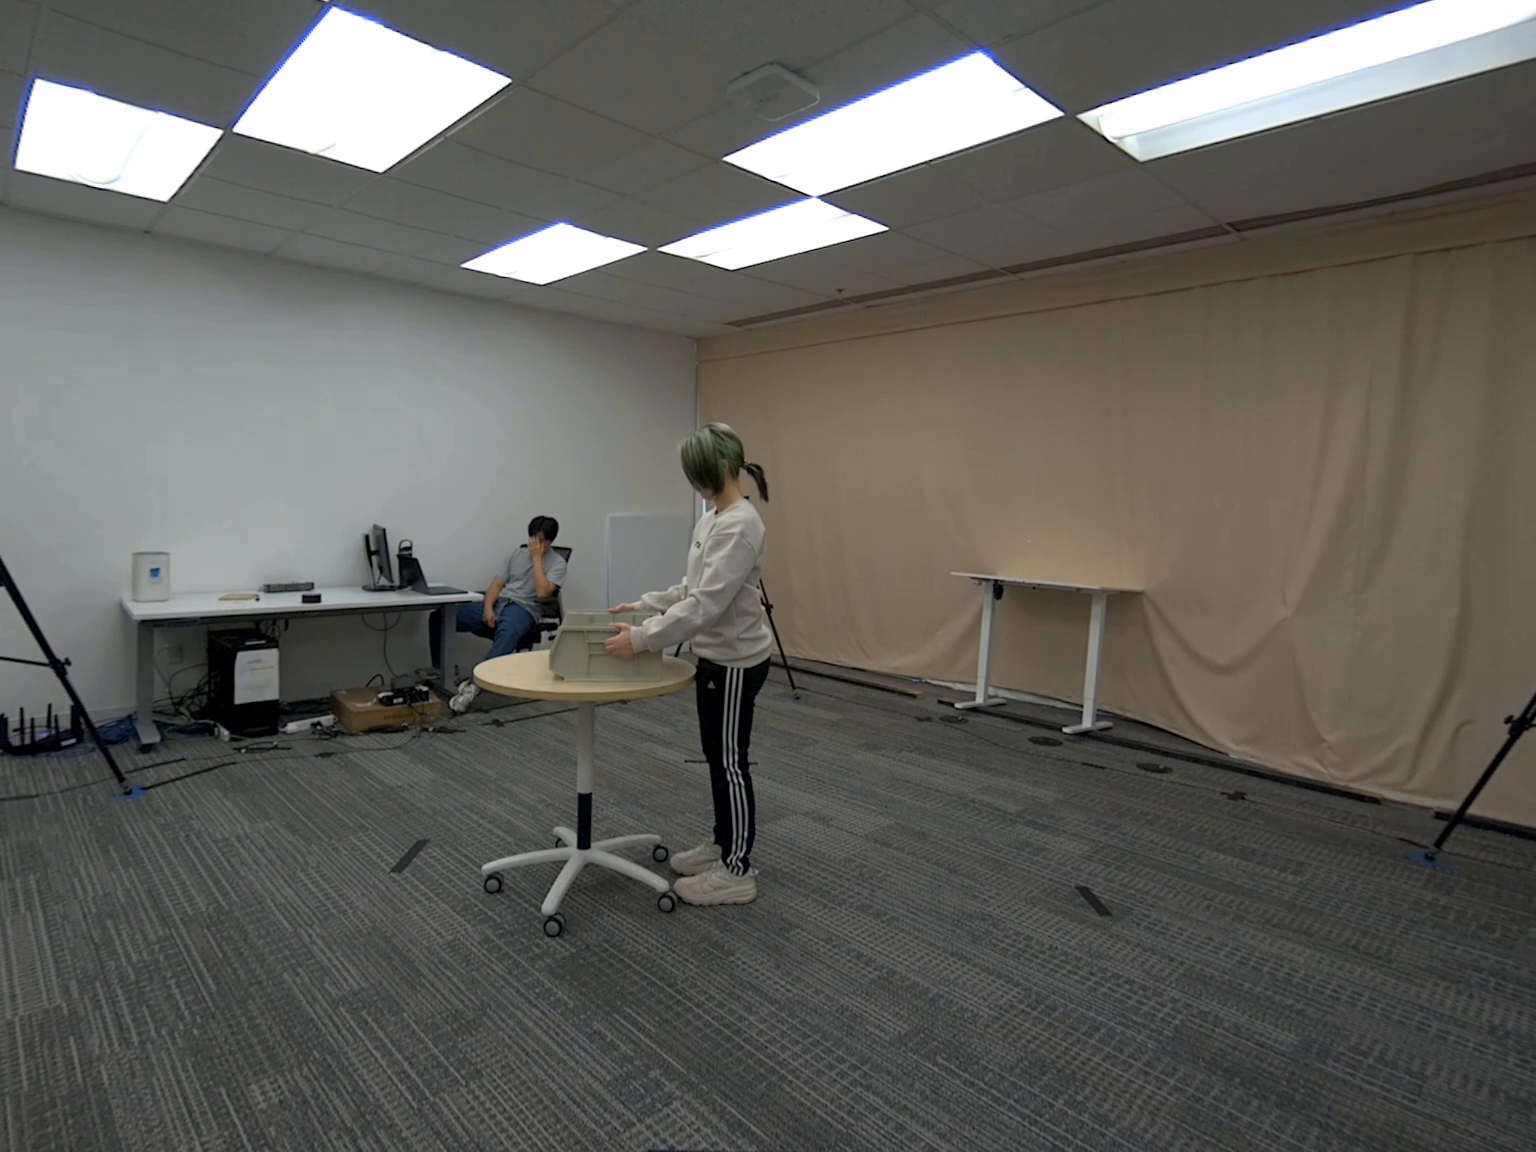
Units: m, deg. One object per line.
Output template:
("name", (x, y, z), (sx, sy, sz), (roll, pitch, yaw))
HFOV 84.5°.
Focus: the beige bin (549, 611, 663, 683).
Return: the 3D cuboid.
("beige bin", (-0.564, 0.235, 2.939), (0.374, 0.188, 0.426), (1, 4, -10))
